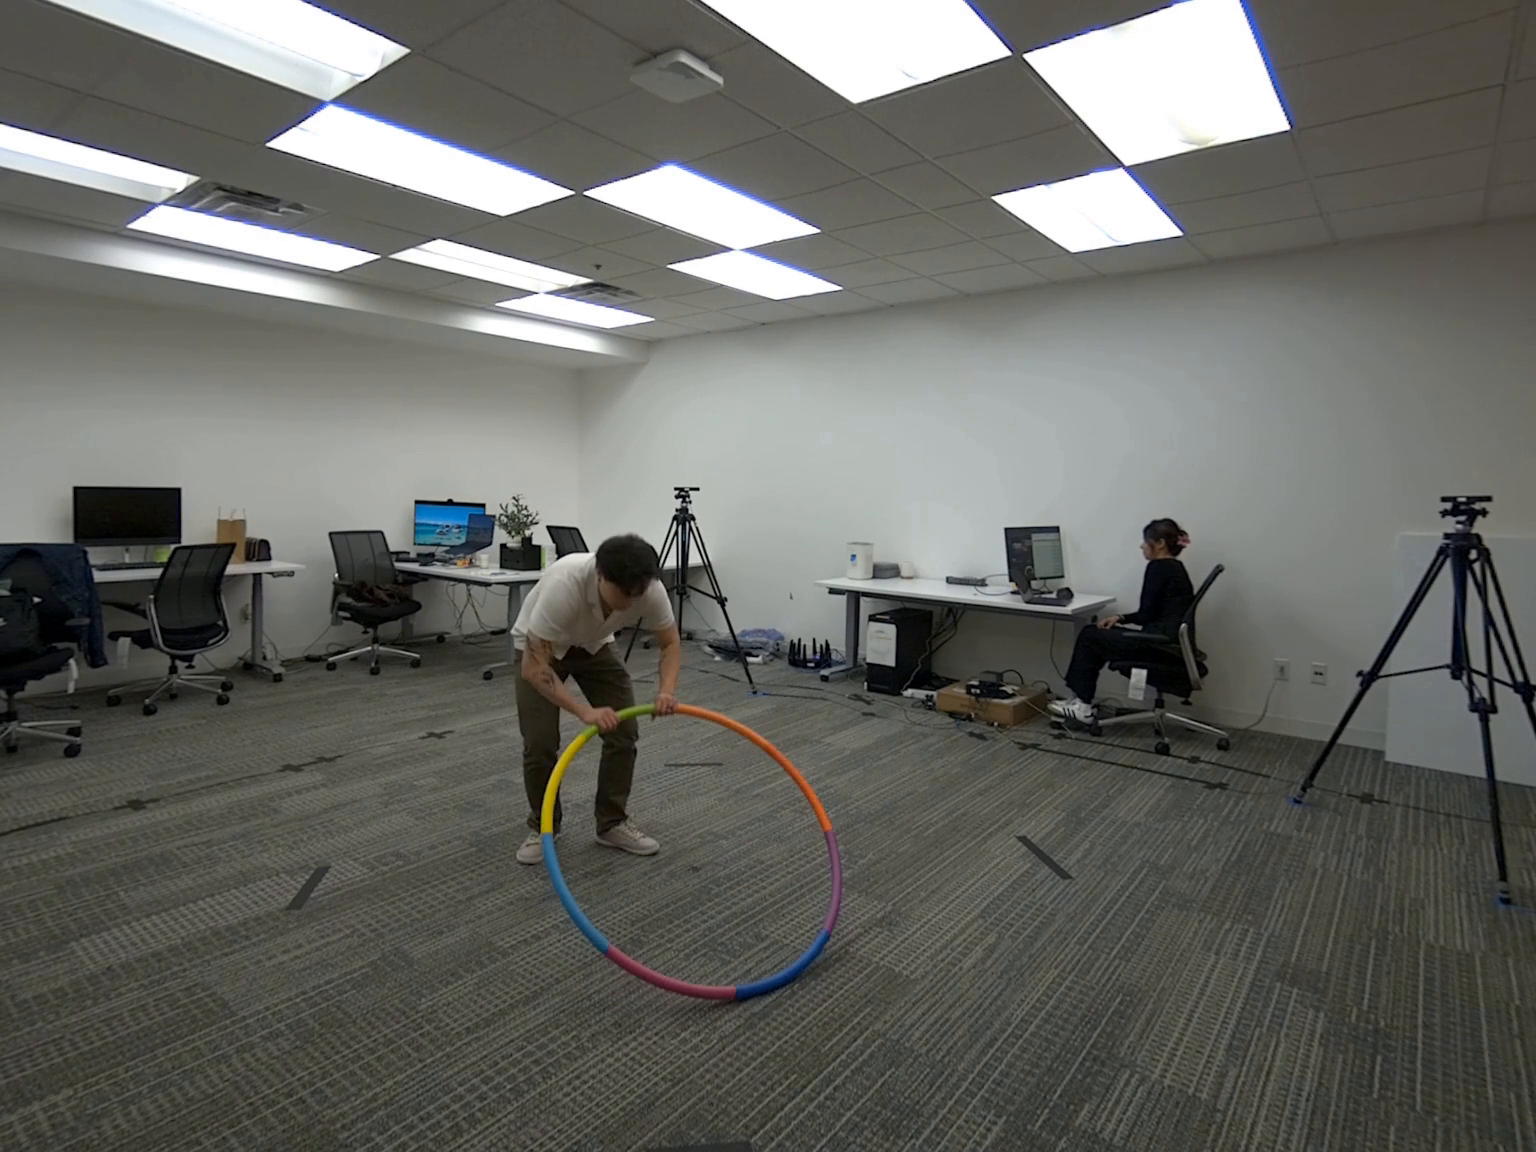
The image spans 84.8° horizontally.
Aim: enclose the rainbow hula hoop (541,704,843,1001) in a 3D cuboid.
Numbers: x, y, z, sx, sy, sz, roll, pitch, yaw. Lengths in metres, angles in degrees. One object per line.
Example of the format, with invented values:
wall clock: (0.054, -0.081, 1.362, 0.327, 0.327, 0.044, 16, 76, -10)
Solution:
rainbow hula hoop: (-0.214, 0.796, 2.650, 0.963, 0.035, 1.007, 15, 36, -13)
